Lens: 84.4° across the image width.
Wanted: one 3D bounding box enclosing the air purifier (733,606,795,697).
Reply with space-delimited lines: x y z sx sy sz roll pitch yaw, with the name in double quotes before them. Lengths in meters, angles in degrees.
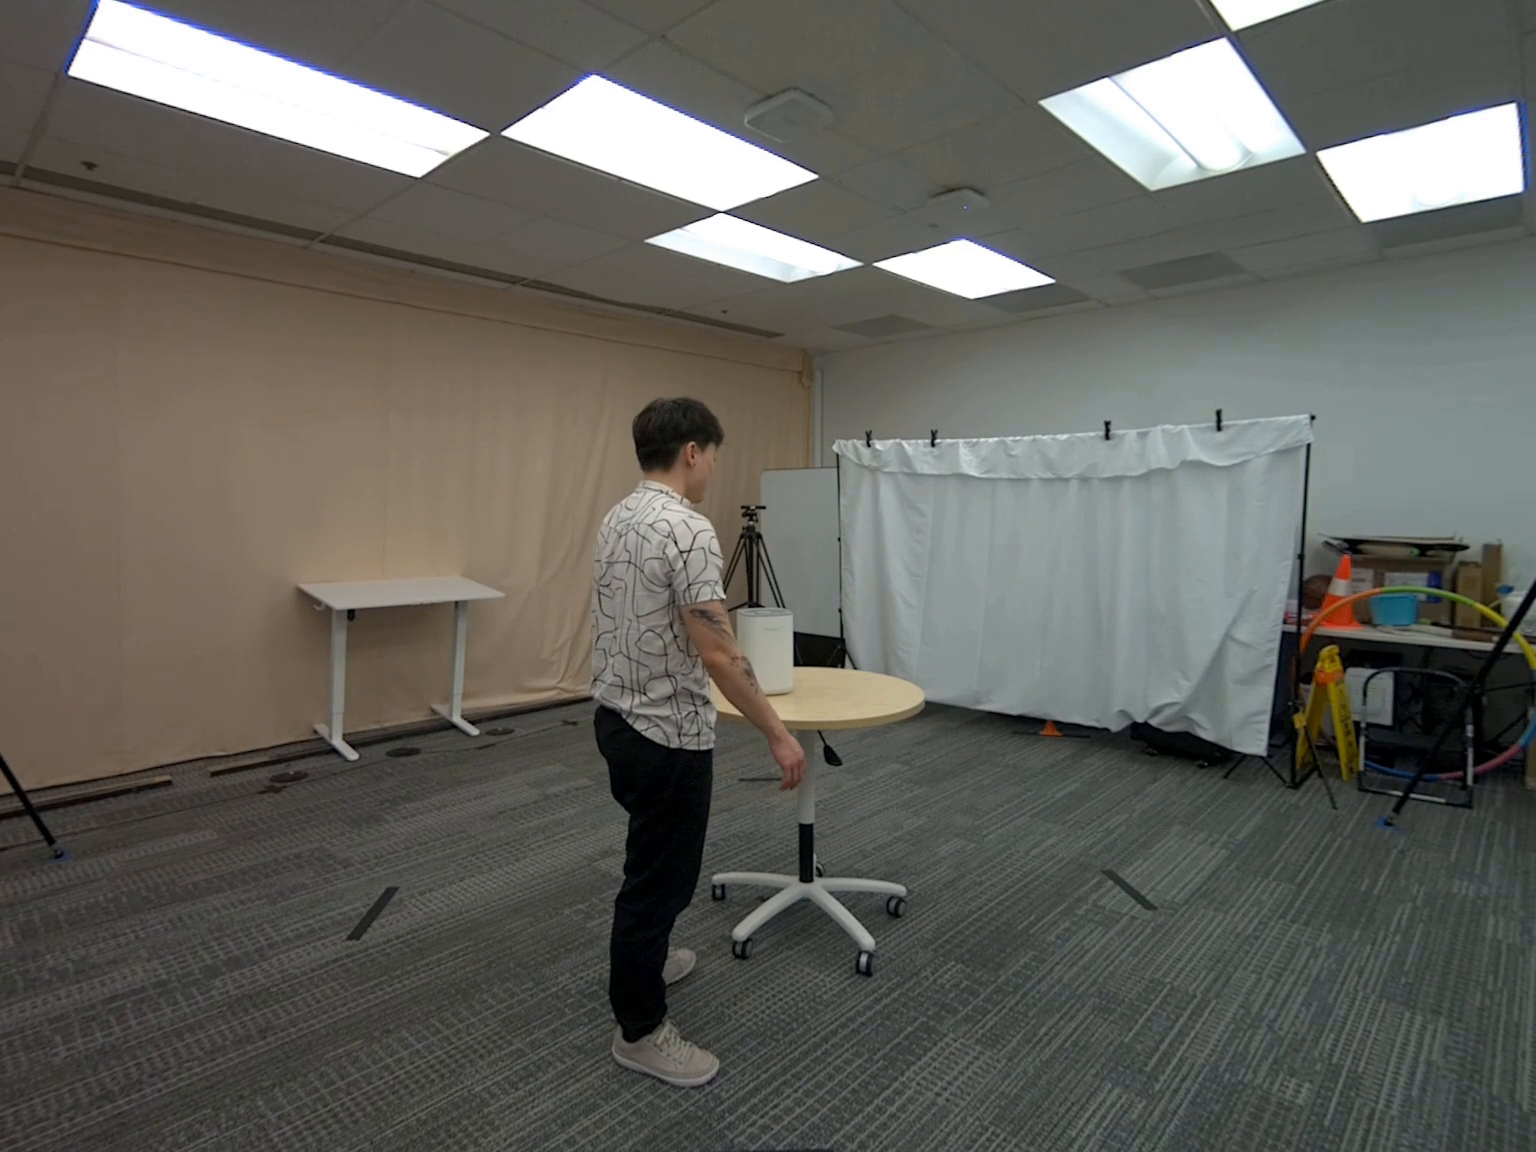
"air purifier" -0.004 0.249 2.771 0.169 0.265 0.174 -1 4 -12
